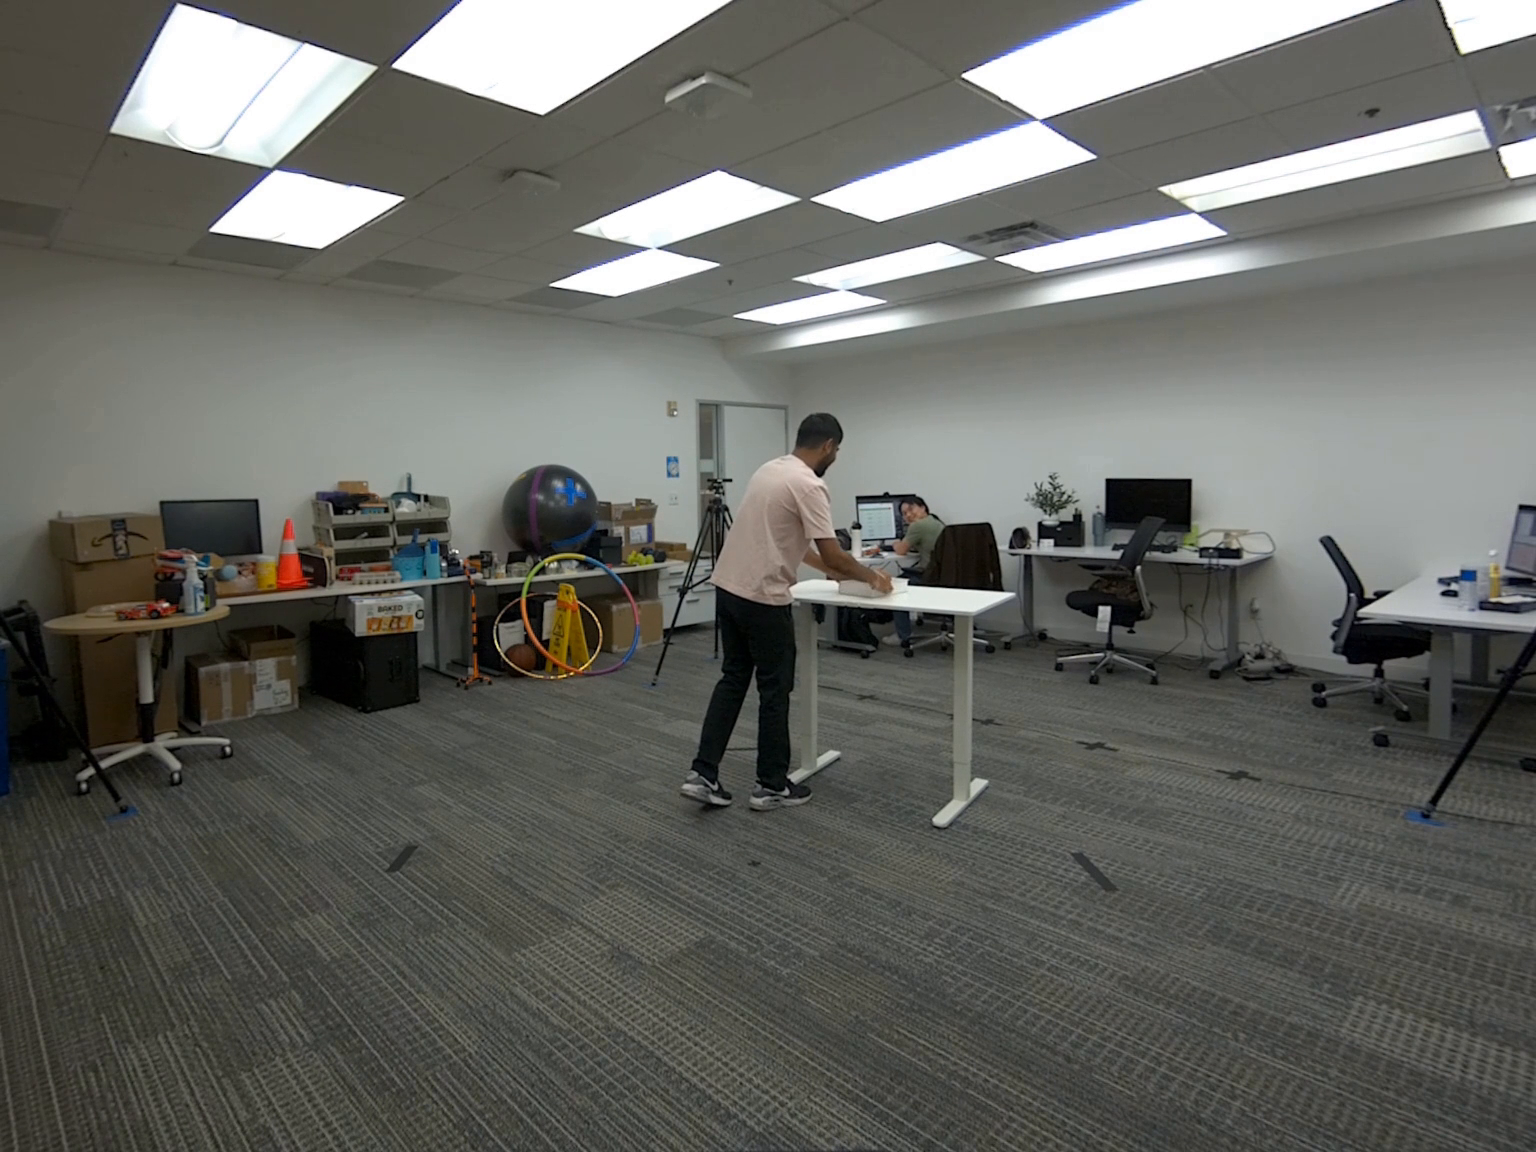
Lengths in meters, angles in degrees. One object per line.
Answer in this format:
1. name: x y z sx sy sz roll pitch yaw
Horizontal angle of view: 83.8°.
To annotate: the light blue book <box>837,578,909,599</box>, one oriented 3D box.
1. light blue book: 0.471 0.047 3.791 0.254 0.059 0.197 -8 10 -44
